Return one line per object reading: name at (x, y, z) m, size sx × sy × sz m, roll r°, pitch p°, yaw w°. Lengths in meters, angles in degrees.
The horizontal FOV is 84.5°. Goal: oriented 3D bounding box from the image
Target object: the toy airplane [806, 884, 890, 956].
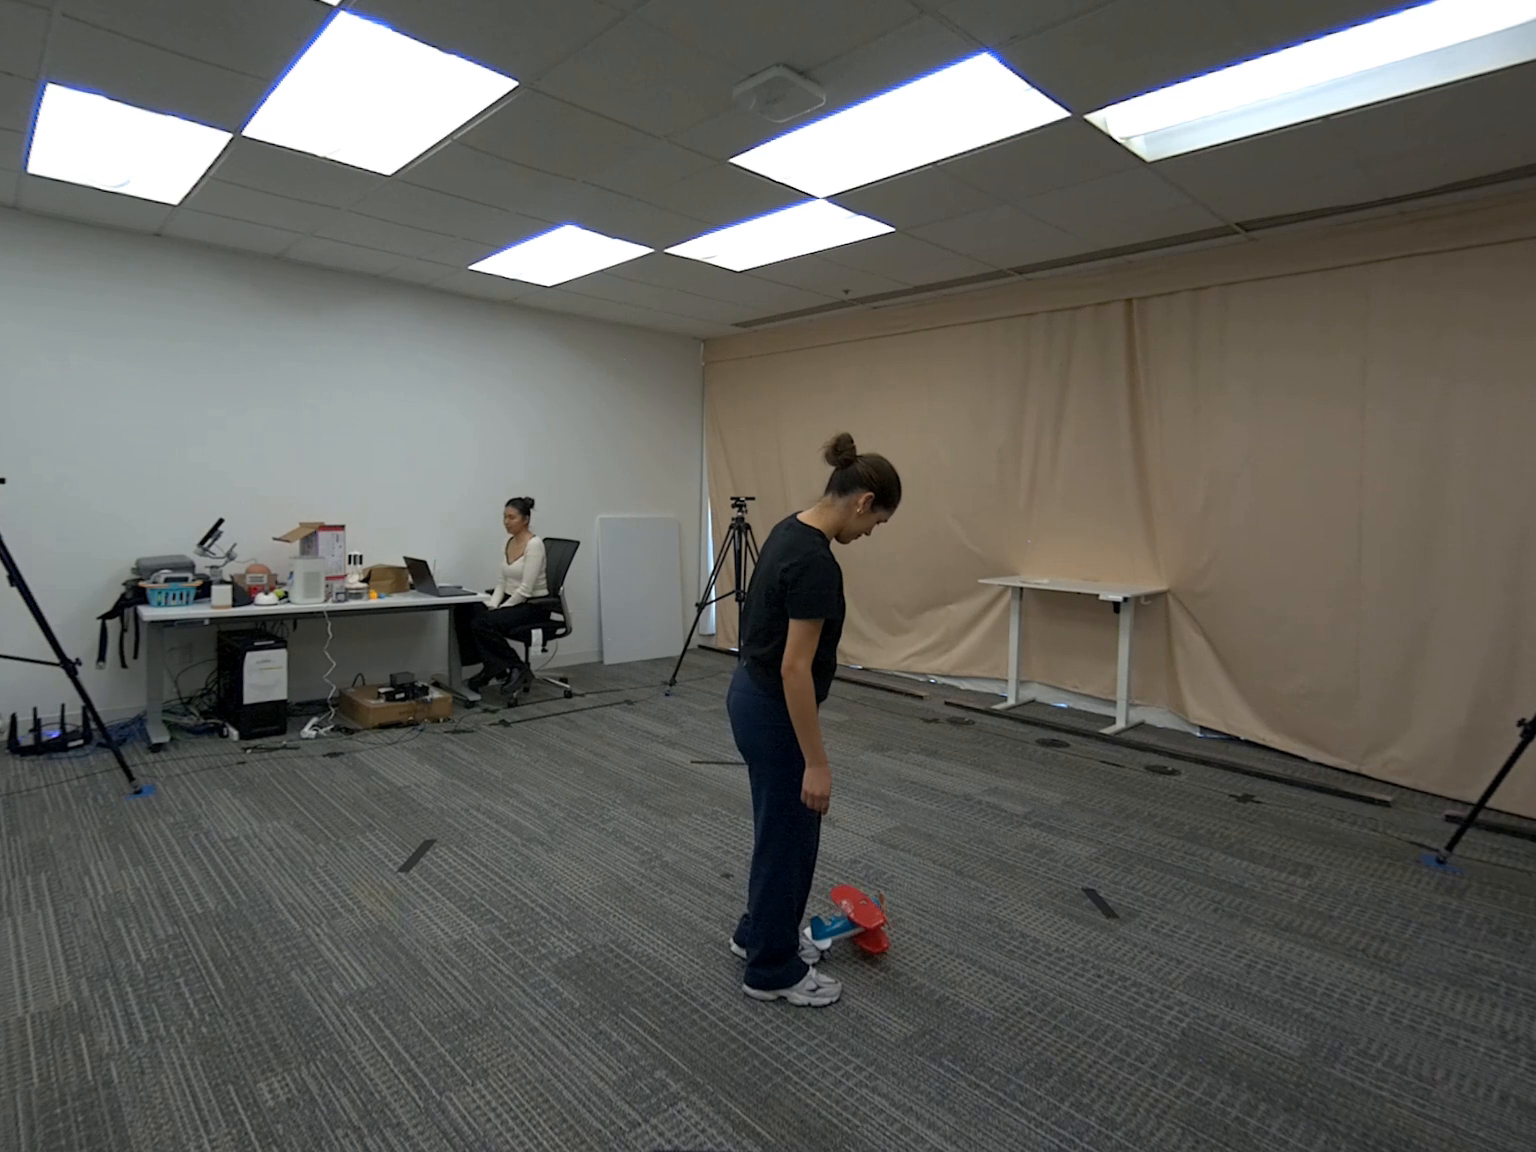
toy airplane at (0.257, 1.089, 2.584) m, size 0.257 × 0.156 × 0.253 m, roll 6°, pitch 6°, yaw 39°
